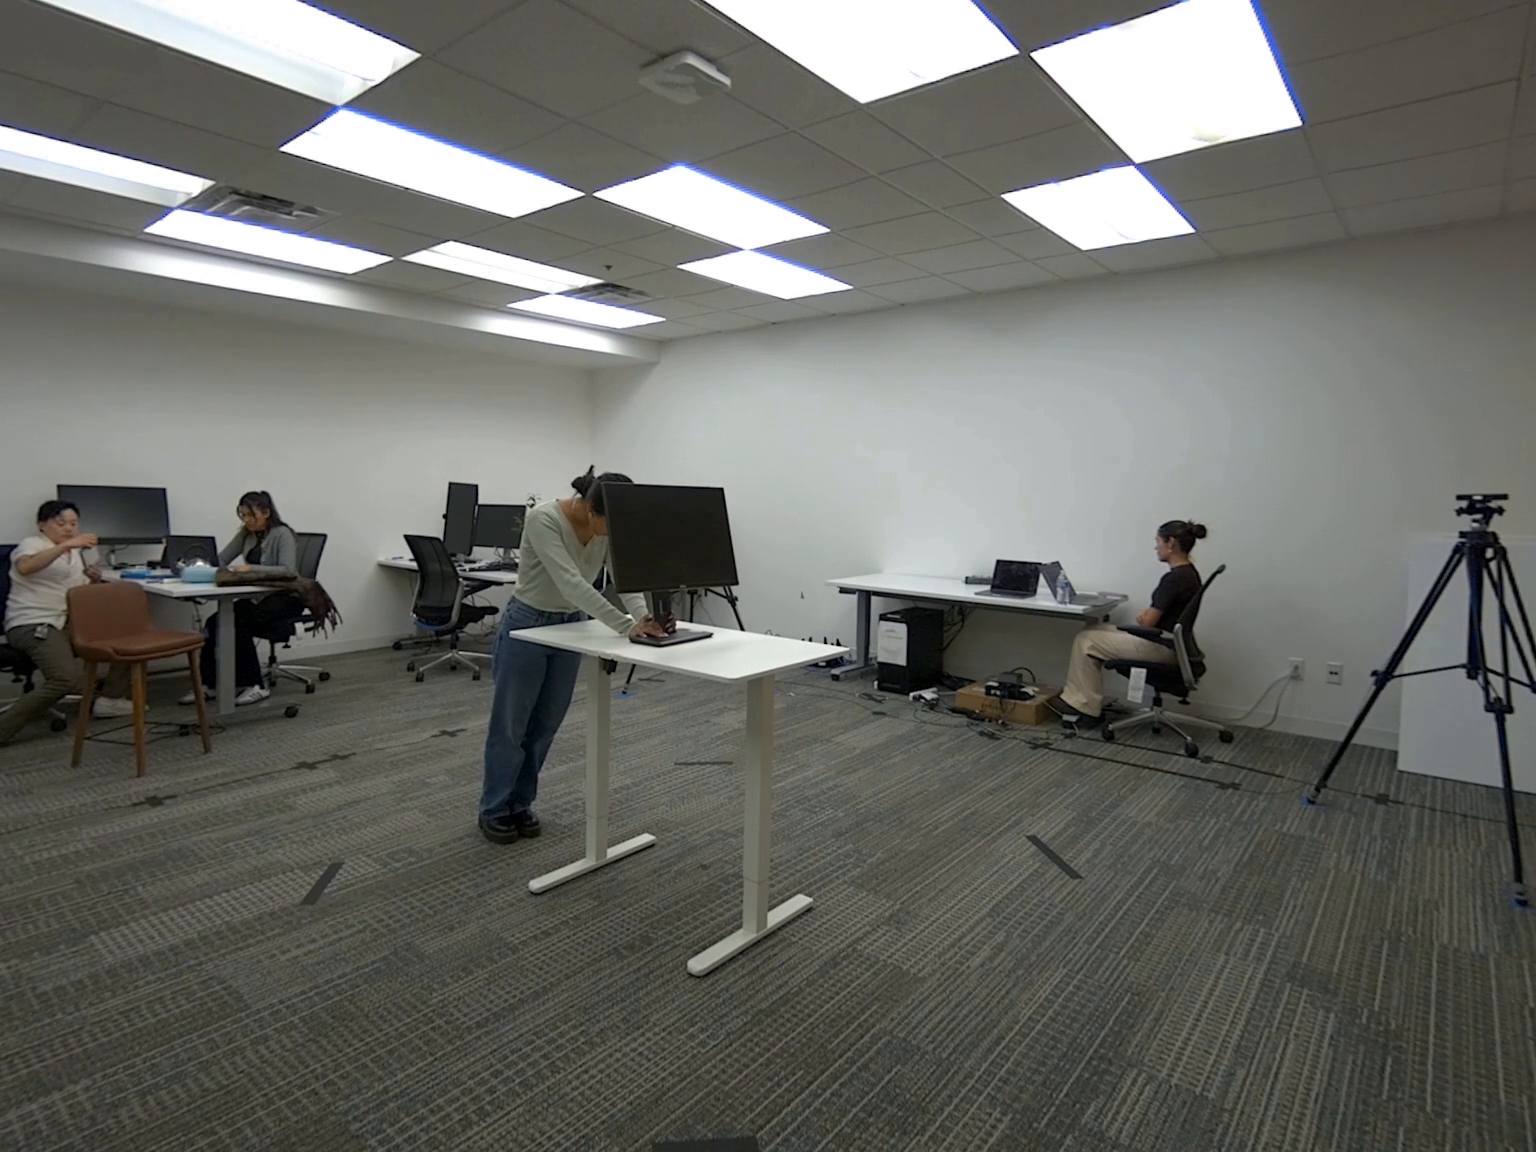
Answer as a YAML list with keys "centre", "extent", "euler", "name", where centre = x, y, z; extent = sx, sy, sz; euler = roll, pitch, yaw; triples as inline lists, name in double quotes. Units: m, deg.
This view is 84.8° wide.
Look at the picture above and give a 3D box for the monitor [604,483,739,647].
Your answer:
- centre: [-0.344, -0.044, 2.836]
  extent: [0.193, 0.521, 0.523]
  euler: [2, 3, 40]
  name: "monitor"
